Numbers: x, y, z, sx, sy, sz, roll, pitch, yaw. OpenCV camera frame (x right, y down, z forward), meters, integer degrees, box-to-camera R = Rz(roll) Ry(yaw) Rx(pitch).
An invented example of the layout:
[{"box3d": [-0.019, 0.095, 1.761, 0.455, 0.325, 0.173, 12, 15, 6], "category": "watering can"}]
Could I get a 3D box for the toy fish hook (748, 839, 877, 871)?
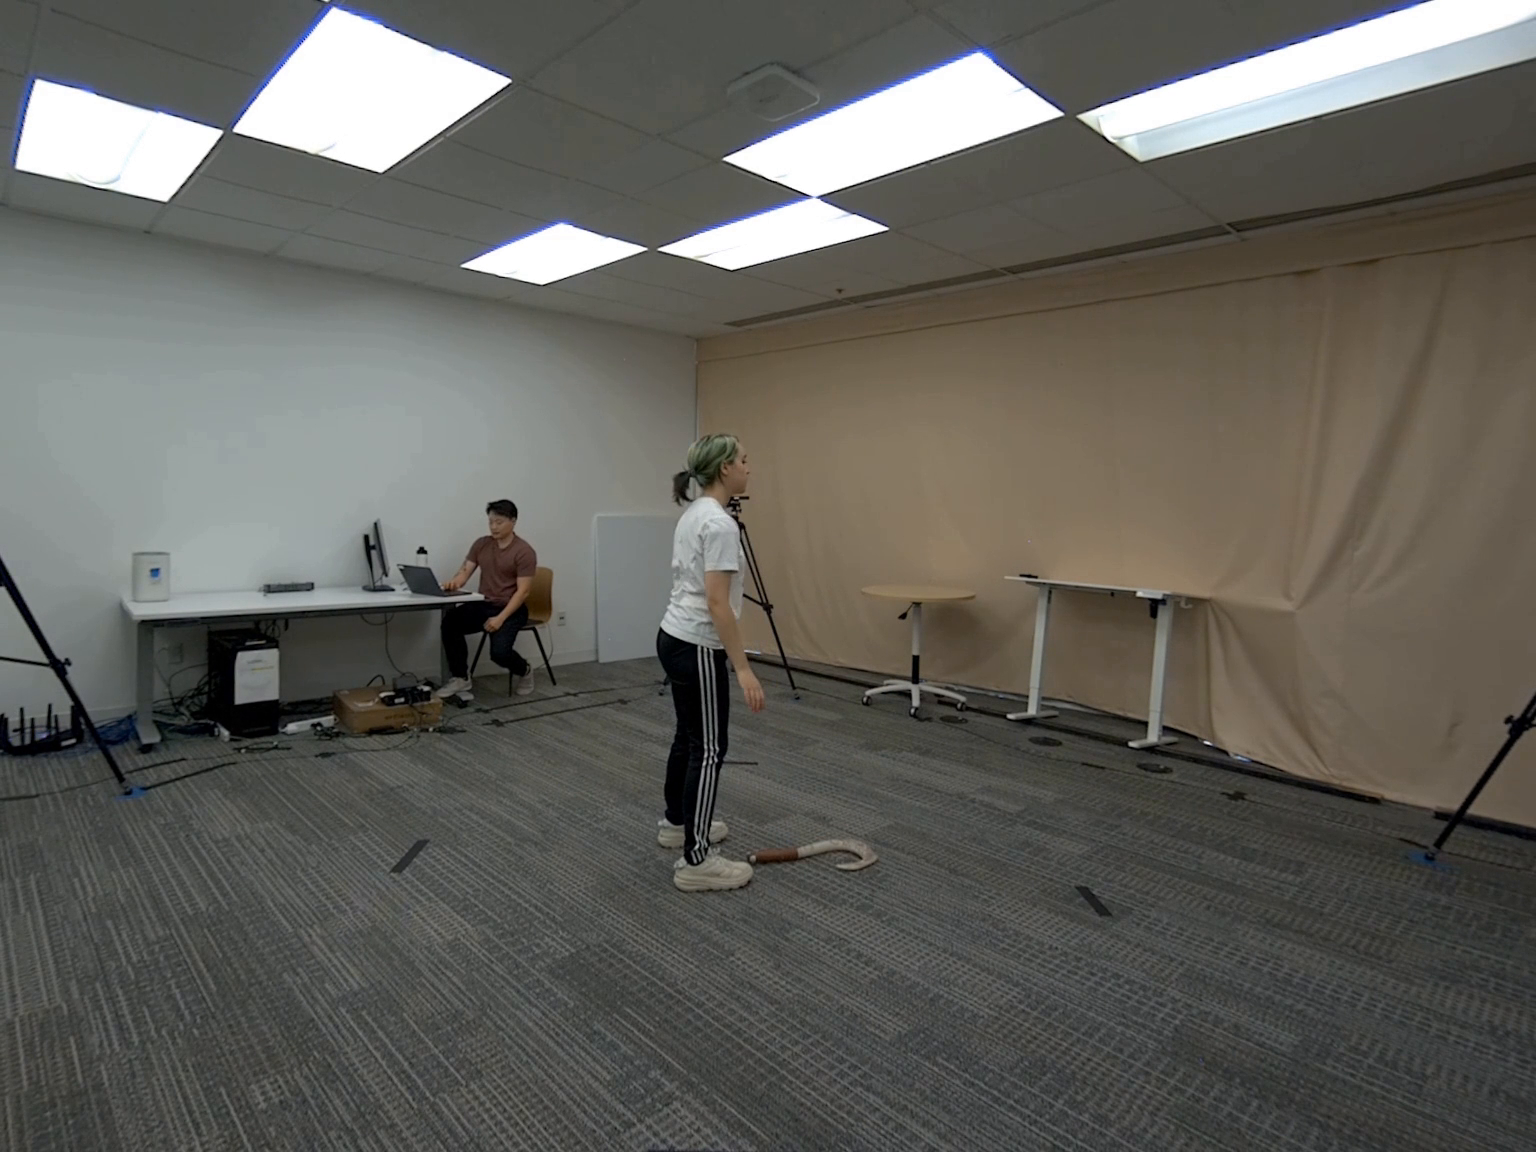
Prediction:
[{"box3d": [0.171, 1.078, 3.222, 0.499, 0.048, 0.228, -1, 5, -18], "category": "toy fish hook"}]
